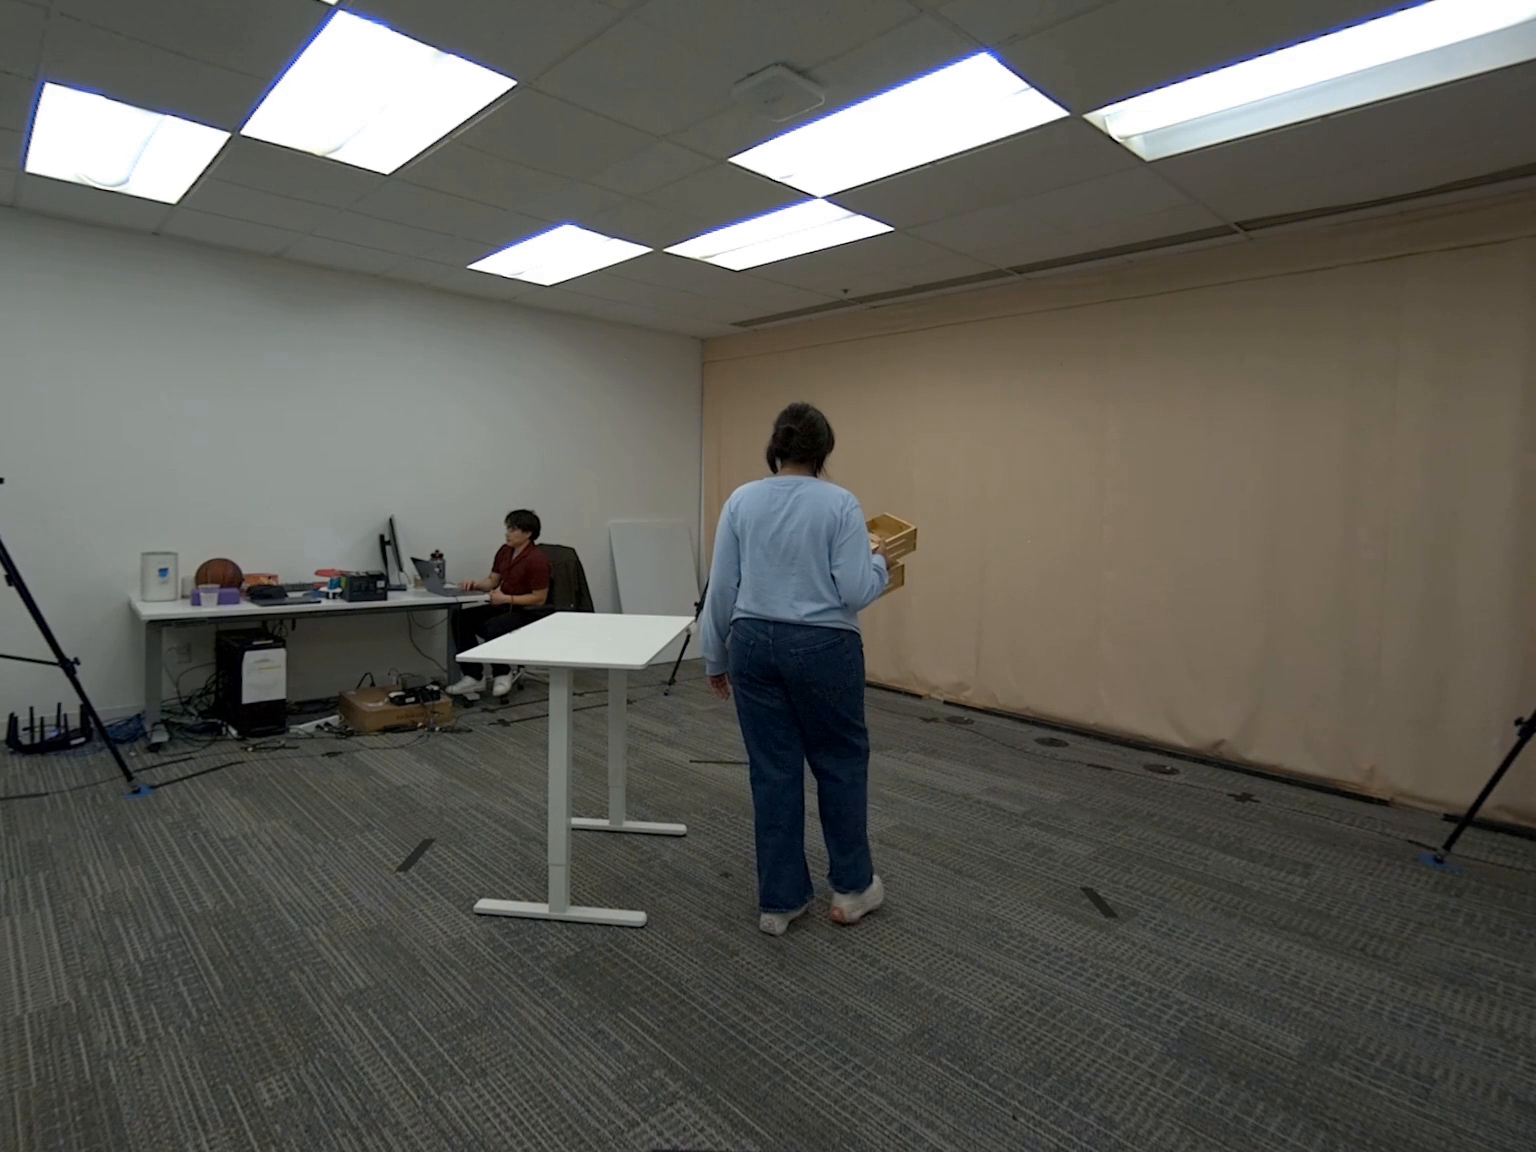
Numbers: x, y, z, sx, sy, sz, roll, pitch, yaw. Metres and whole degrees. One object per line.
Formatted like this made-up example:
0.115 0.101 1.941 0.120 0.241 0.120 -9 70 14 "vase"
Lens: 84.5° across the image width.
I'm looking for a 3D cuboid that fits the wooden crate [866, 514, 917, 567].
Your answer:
0.314 -0.062 2.980 0.321 0.267 0.312 -25 37 -30 "wooden crate"
